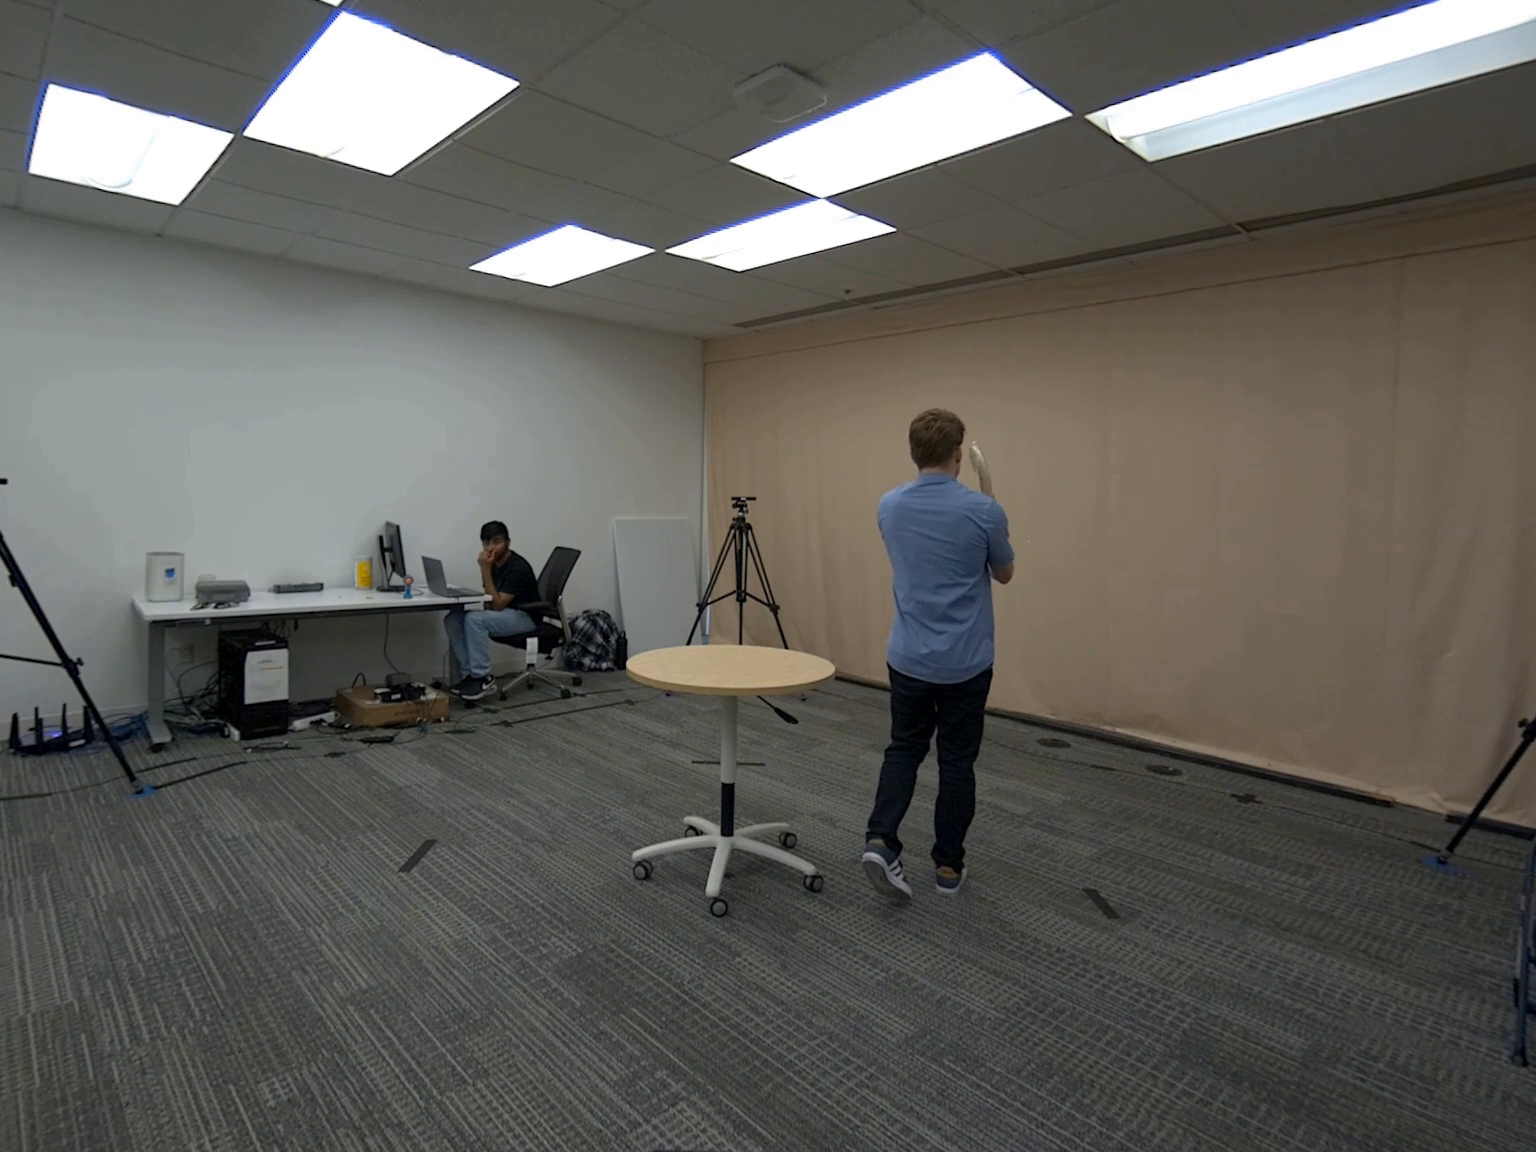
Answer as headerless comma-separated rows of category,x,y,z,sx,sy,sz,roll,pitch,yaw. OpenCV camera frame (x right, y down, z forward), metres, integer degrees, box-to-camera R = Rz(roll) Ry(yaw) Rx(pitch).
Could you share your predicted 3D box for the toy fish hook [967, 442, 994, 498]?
toy fish hook,0.821,-0.300,3.278,0.048,0.493,0.229,-8,45,7
